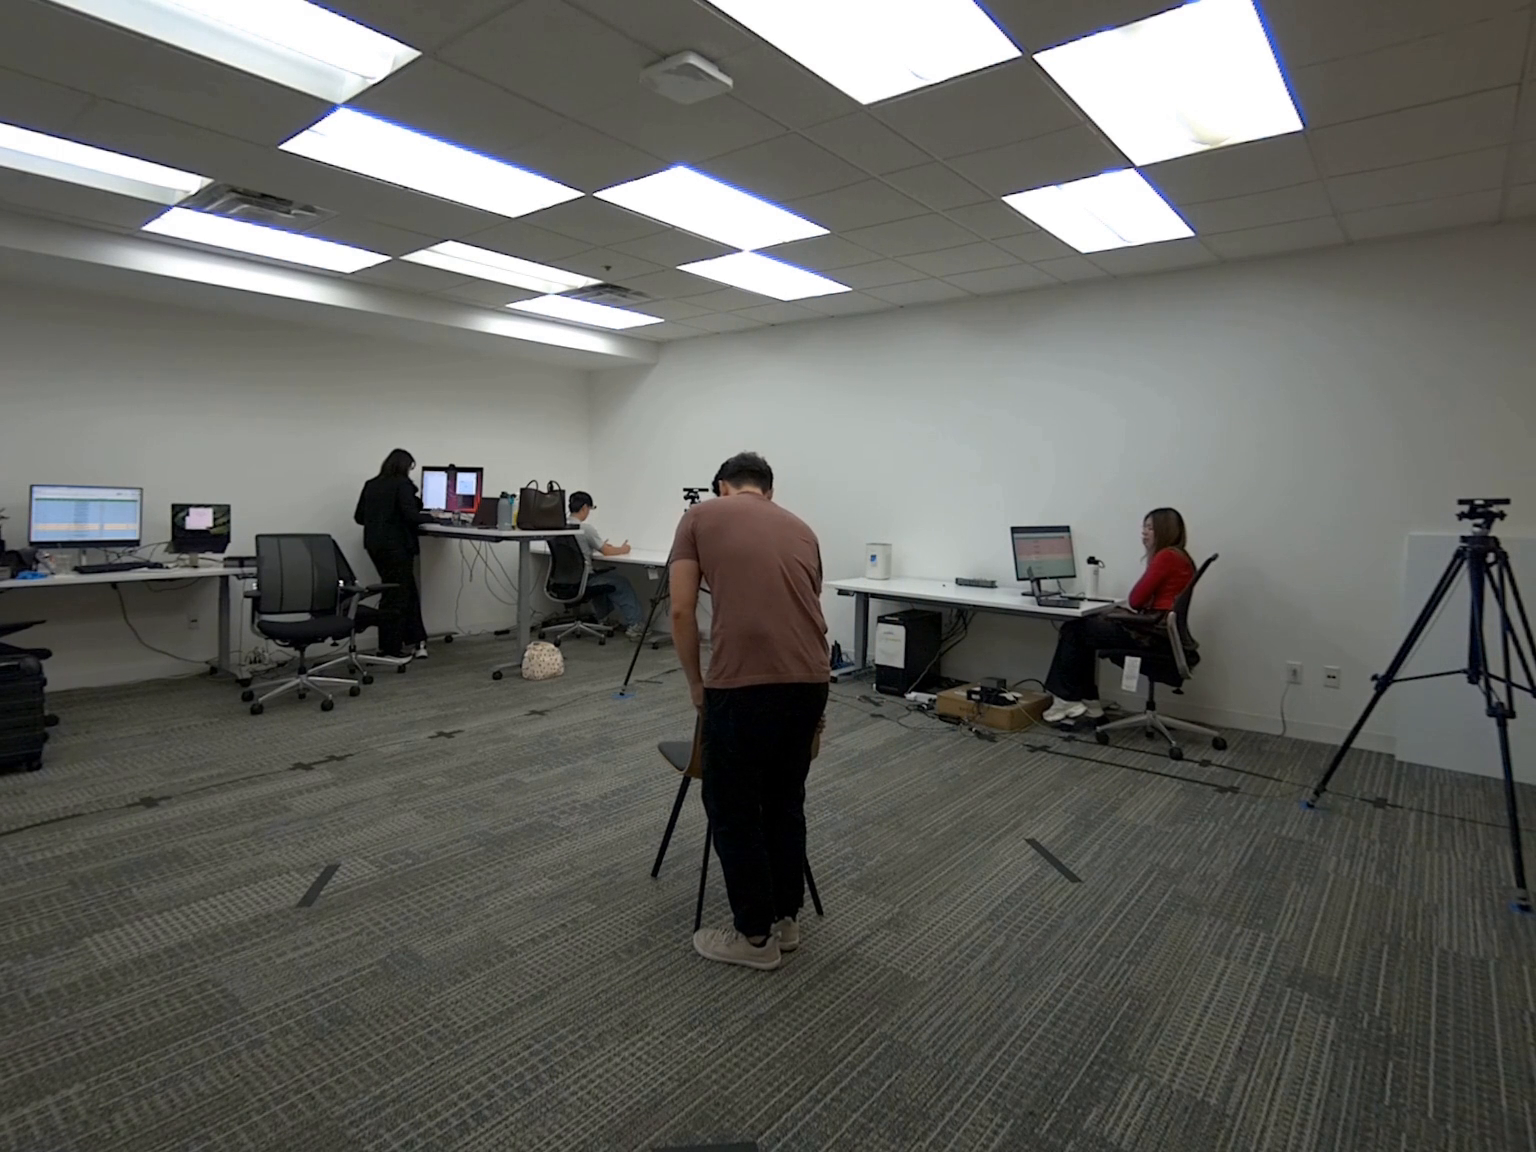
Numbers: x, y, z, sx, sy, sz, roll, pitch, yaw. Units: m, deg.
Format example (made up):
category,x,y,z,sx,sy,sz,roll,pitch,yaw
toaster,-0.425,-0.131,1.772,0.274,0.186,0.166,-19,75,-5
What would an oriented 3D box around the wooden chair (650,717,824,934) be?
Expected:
category,x,y,z,sx,sy,sz,roll,pitch,yaw
wooden chair,-0.126,0.661,2.900,0.468,0.872,0.538,-1,7,-23
